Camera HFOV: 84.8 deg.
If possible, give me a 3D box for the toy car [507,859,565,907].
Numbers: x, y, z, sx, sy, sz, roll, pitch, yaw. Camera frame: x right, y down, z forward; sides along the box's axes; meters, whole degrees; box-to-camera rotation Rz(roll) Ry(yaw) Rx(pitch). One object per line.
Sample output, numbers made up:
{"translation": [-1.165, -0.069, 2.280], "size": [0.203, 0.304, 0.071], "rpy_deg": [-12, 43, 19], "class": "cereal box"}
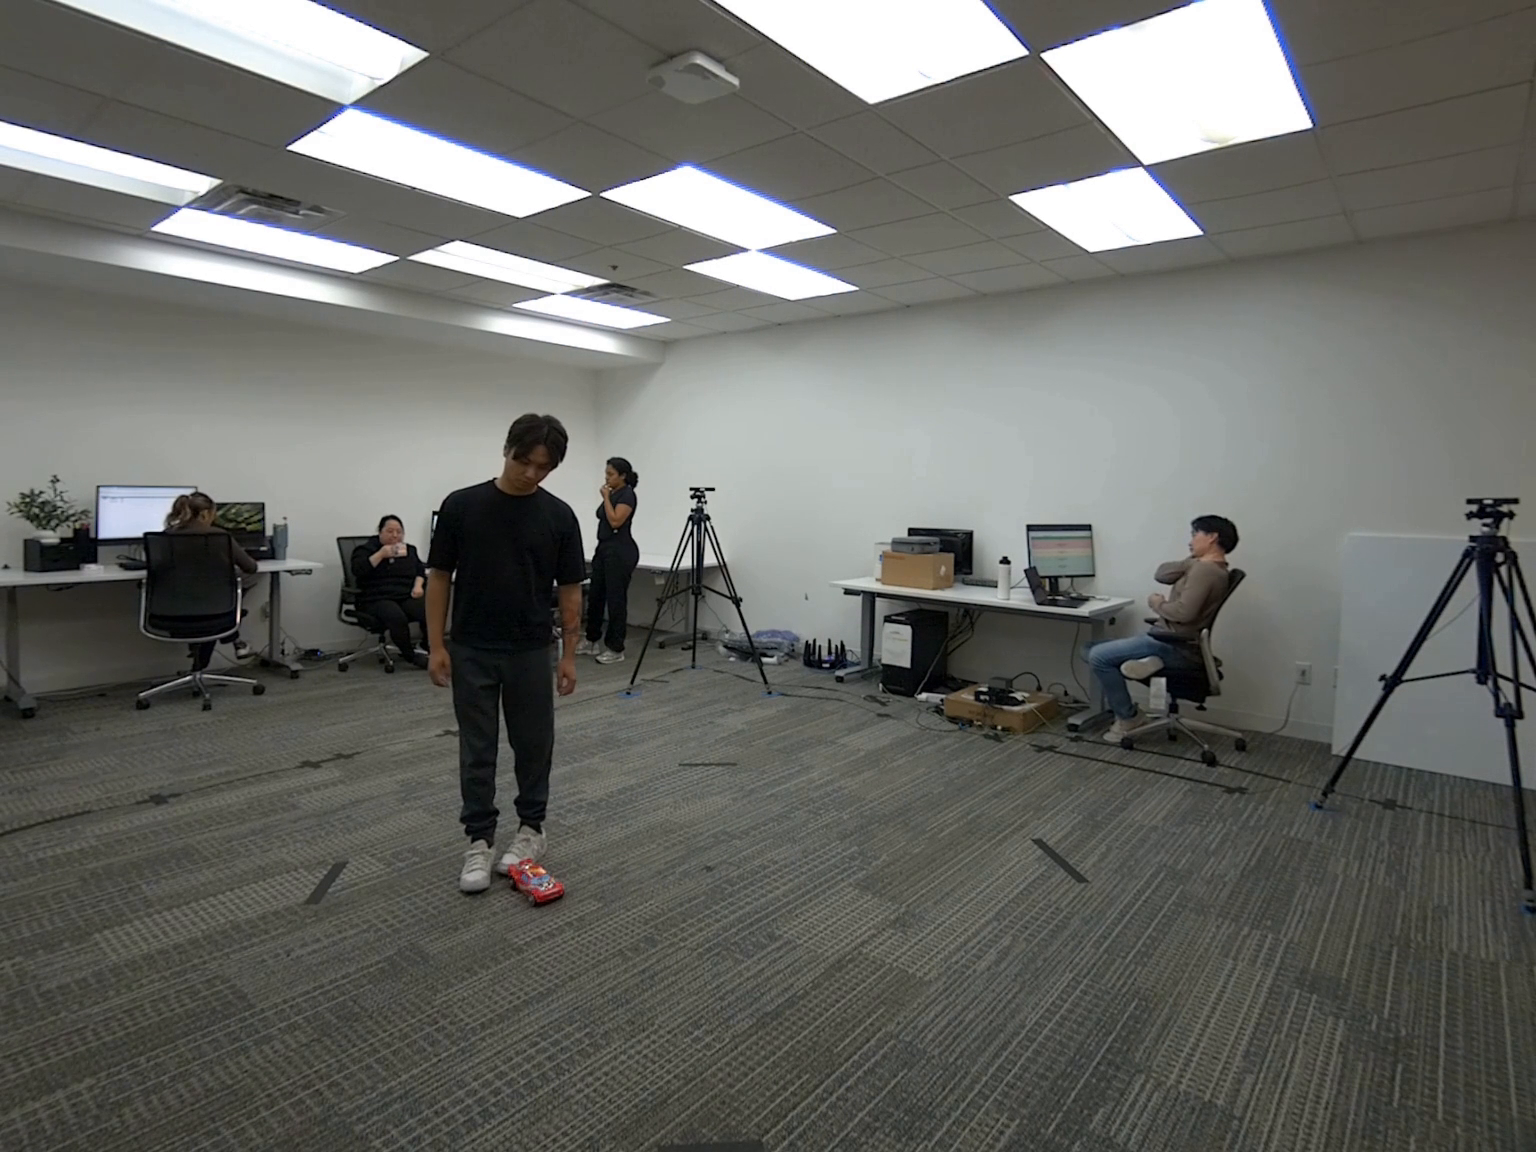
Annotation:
{"translation": [-0.815, 1.045, 2.907], "size": [0.126, 0.082, 0.265], "rpy_deg": [-3, 17, -40], "class": "toy car"}
